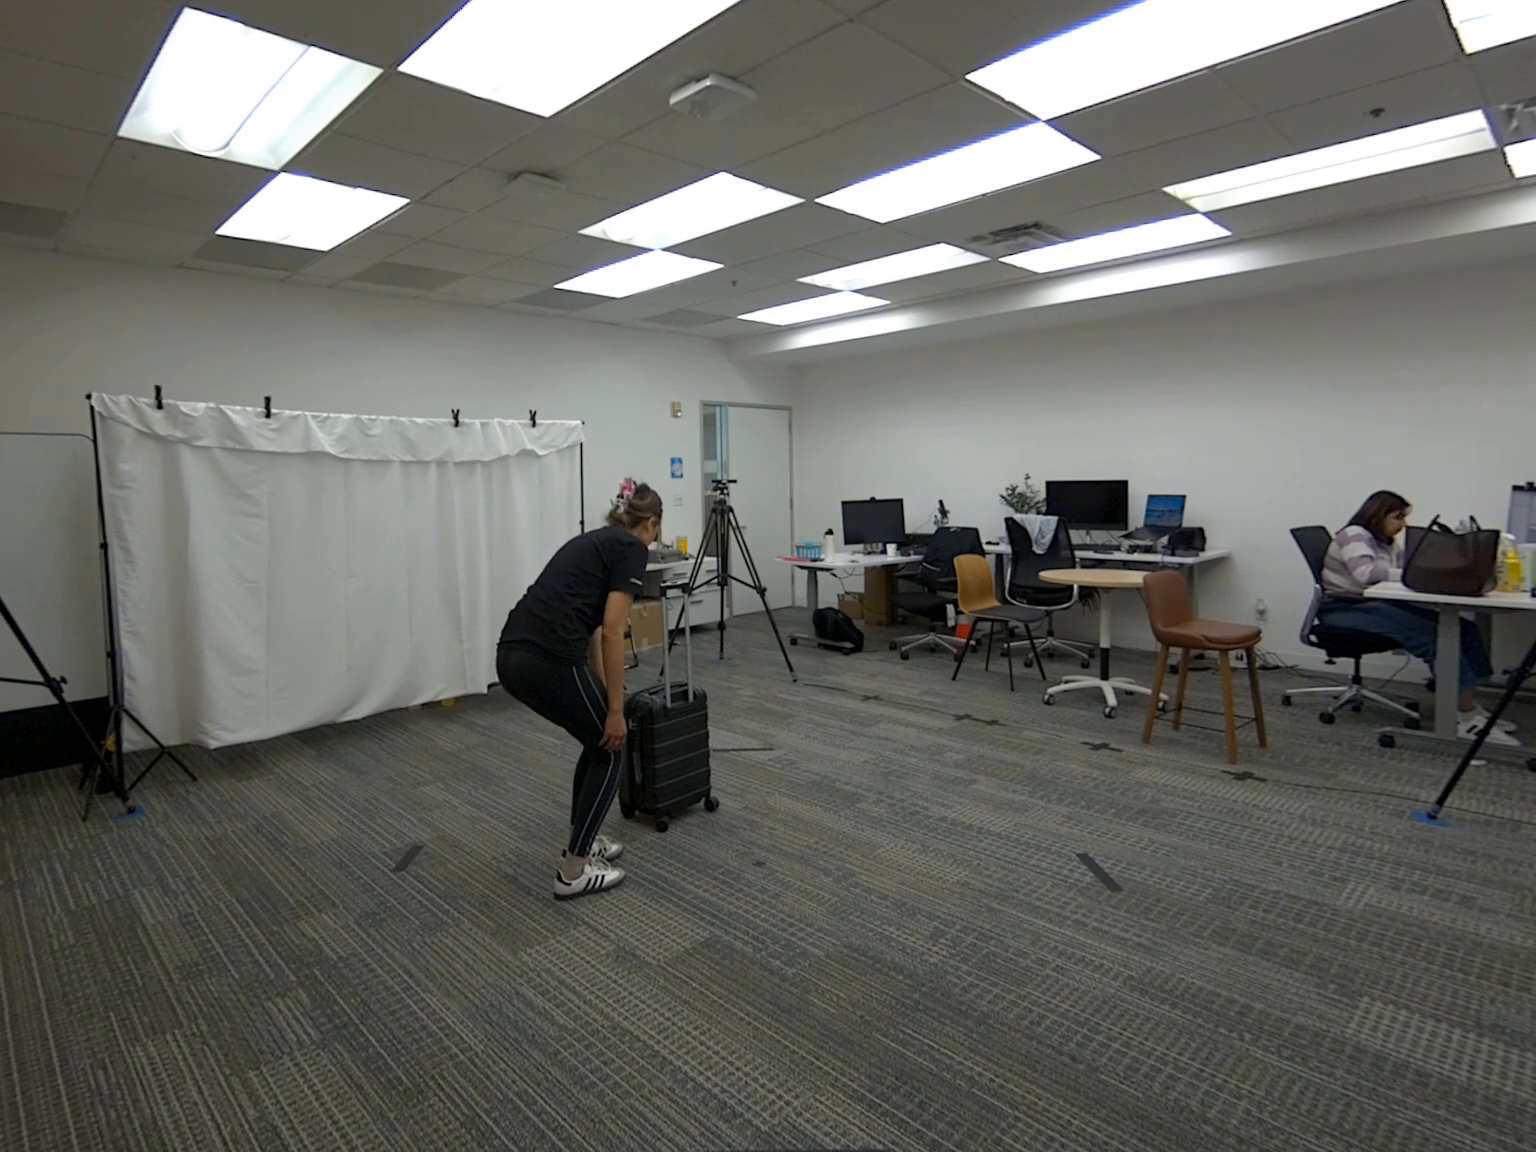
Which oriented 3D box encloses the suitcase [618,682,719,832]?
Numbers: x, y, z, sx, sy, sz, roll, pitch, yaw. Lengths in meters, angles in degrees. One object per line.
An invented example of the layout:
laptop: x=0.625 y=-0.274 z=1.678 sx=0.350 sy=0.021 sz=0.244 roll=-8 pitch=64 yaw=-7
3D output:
suitcase: x=-0.454 y=0.527 z=3.583 sx=0.264 sy=0.976 sz=0.374 roll=-3 pitch=3 yaw=42
